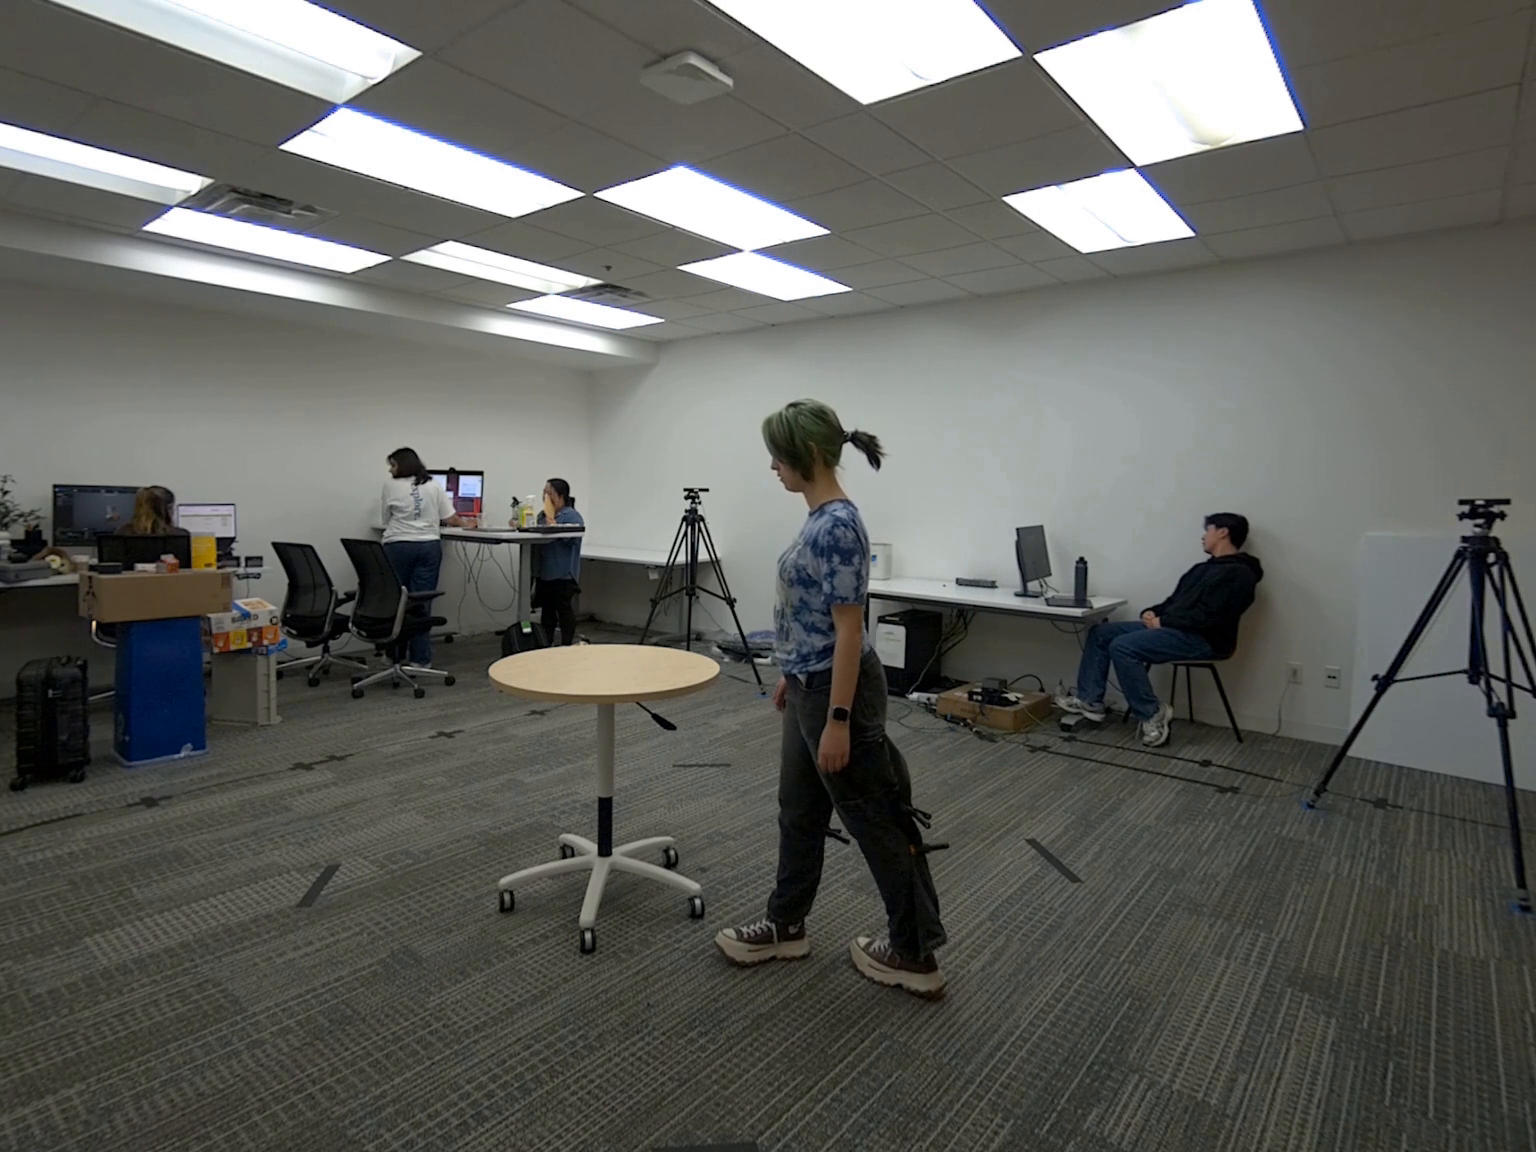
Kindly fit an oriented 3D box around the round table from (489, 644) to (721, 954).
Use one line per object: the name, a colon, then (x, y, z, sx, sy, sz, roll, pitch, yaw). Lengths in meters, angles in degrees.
round table: (-0.559, 0.696, 2.879, 0.763, 0.791, 0.768, 1, 4, -2)
